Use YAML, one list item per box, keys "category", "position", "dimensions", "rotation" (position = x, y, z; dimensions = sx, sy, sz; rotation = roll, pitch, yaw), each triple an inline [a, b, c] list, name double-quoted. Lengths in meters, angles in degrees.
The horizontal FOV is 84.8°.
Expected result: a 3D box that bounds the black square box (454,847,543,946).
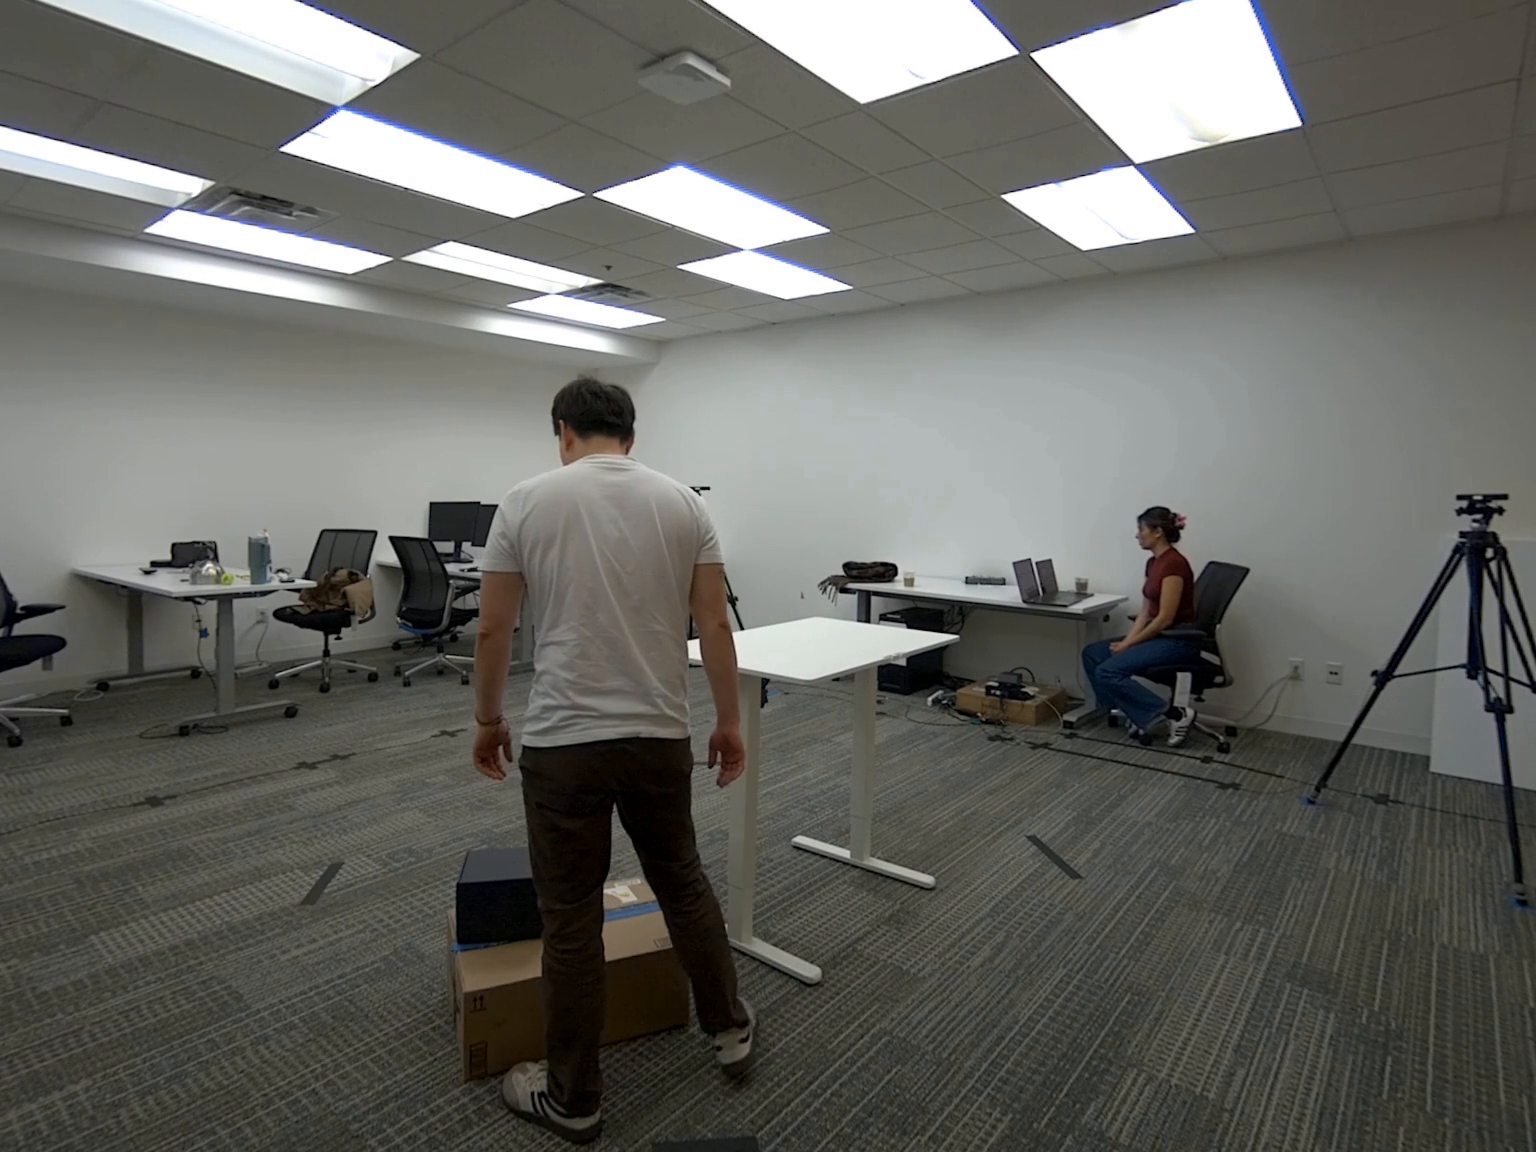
- category: "black square box"
  position: [-0.715, 0.842, 2.283]
  dimensions: [0.225, 0.155, 0.220]
  rotation: [0, 3, -11]
